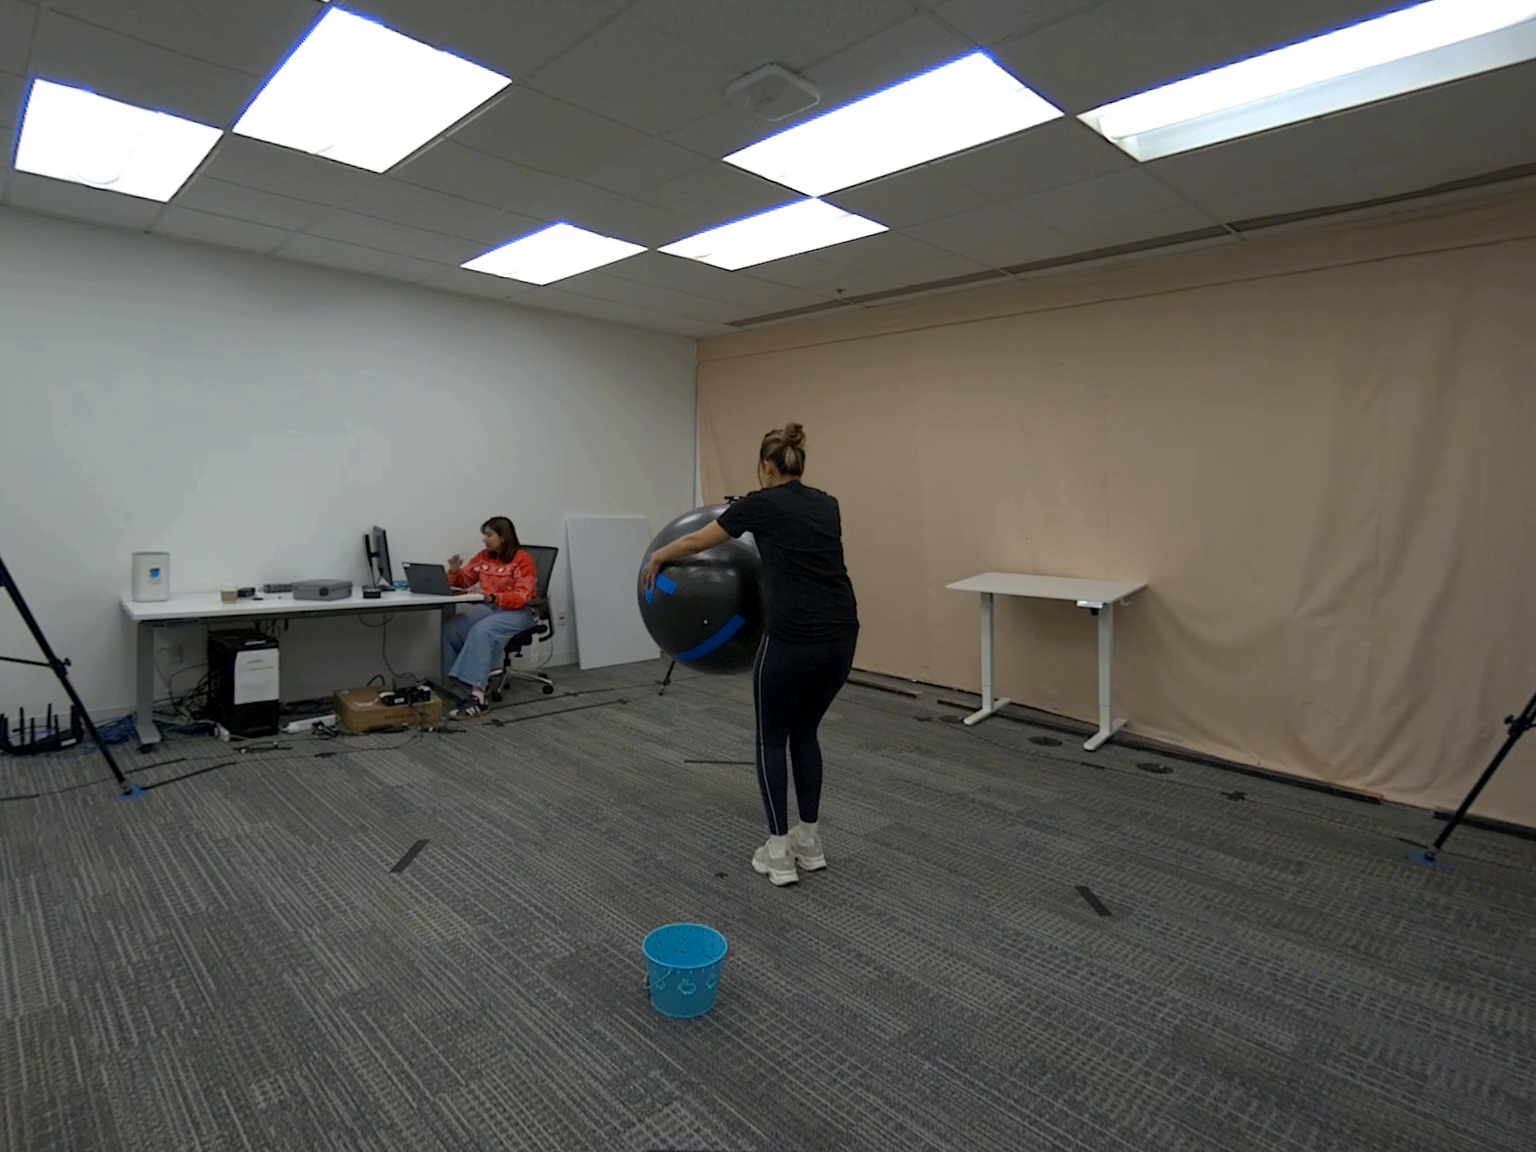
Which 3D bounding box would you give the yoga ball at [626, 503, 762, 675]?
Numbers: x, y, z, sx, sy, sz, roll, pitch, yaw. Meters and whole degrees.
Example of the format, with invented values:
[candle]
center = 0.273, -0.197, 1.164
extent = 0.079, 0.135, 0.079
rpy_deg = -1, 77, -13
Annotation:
[yoga ball]
center = -0.203, 0.068, 3.730
extent = 0.757, 0.756, 0.761
rpy_deg = 1, 4, -1
